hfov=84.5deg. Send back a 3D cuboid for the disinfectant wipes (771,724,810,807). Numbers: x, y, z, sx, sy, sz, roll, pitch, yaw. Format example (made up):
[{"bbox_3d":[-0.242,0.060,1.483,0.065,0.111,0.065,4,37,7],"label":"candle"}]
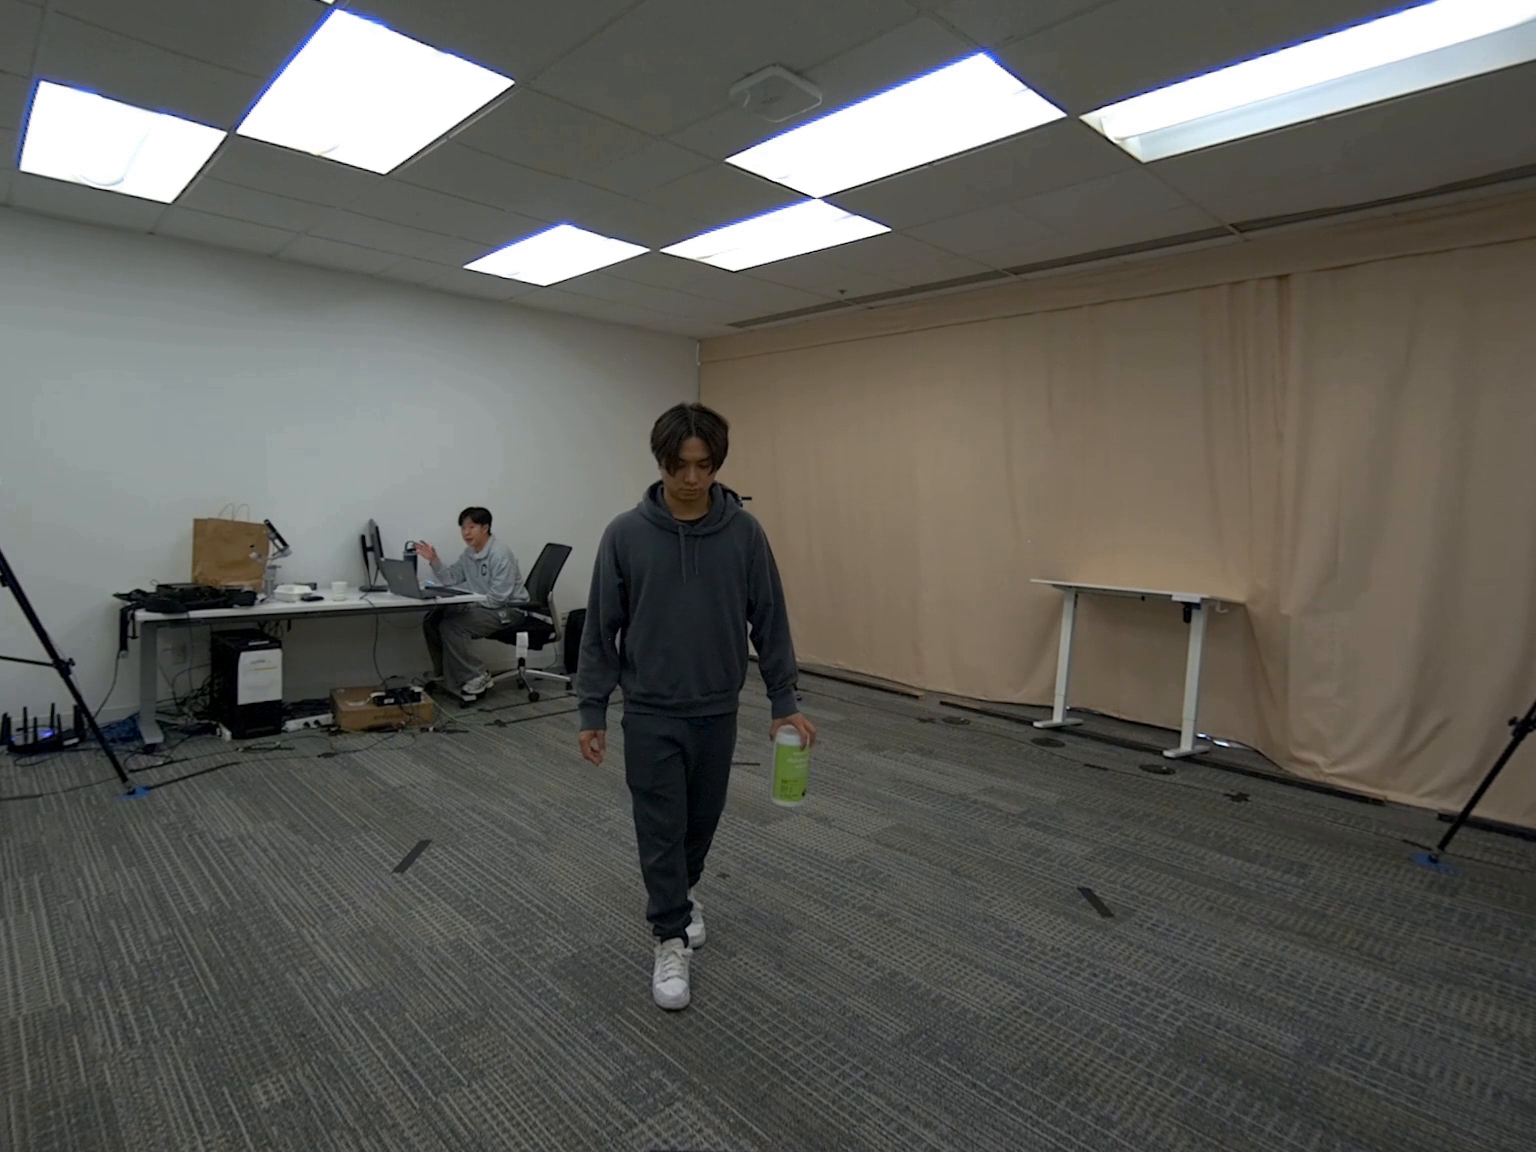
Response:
[{"bbox_3d":[0.045,0.558,2.448,0.117,0.216,0.118,3,9,-2],"label":"disinfectant wipes"}]
